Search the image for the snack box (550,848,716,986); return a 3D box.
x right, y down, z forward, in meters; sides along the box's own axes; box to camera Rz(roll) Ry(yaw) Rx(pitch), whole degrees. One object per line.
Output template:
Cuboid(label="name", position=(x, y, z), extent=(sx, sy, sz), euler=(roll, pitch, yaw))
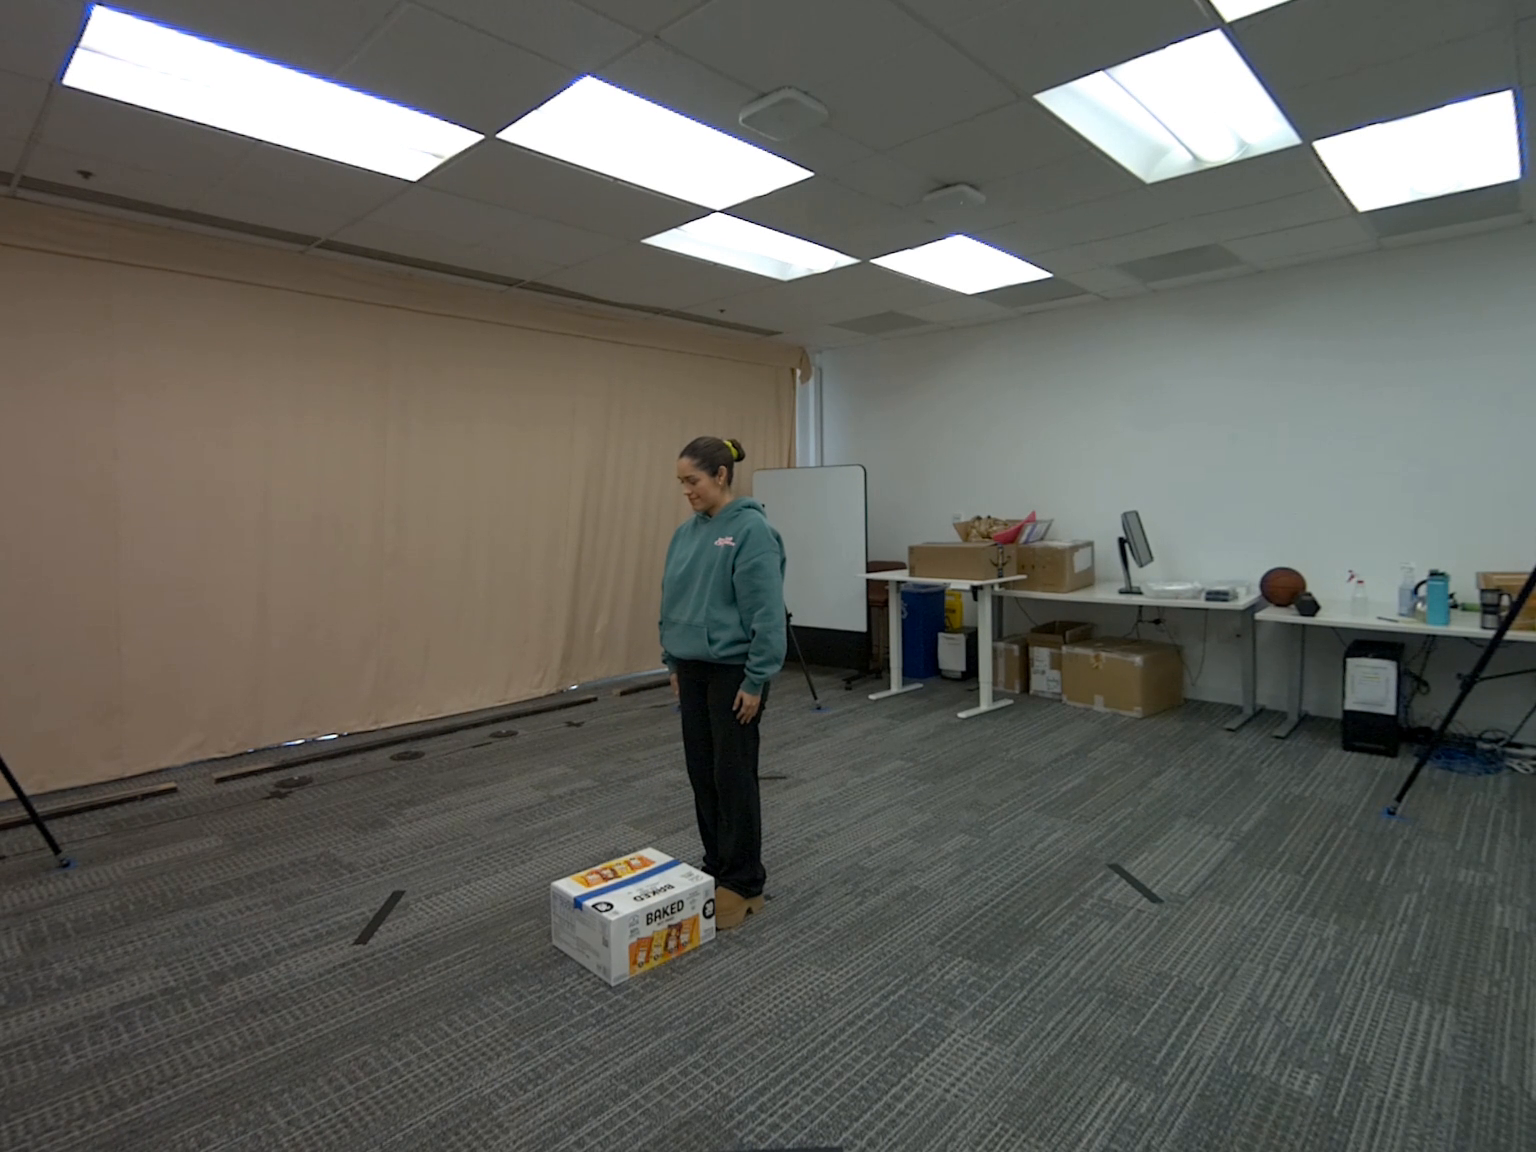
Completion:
Cuboid(label="snack box", position=(-0.432, 1.075, 2.685), extent=(0.393, 0.205, 0.351), euler=(-5, 6, -43))
